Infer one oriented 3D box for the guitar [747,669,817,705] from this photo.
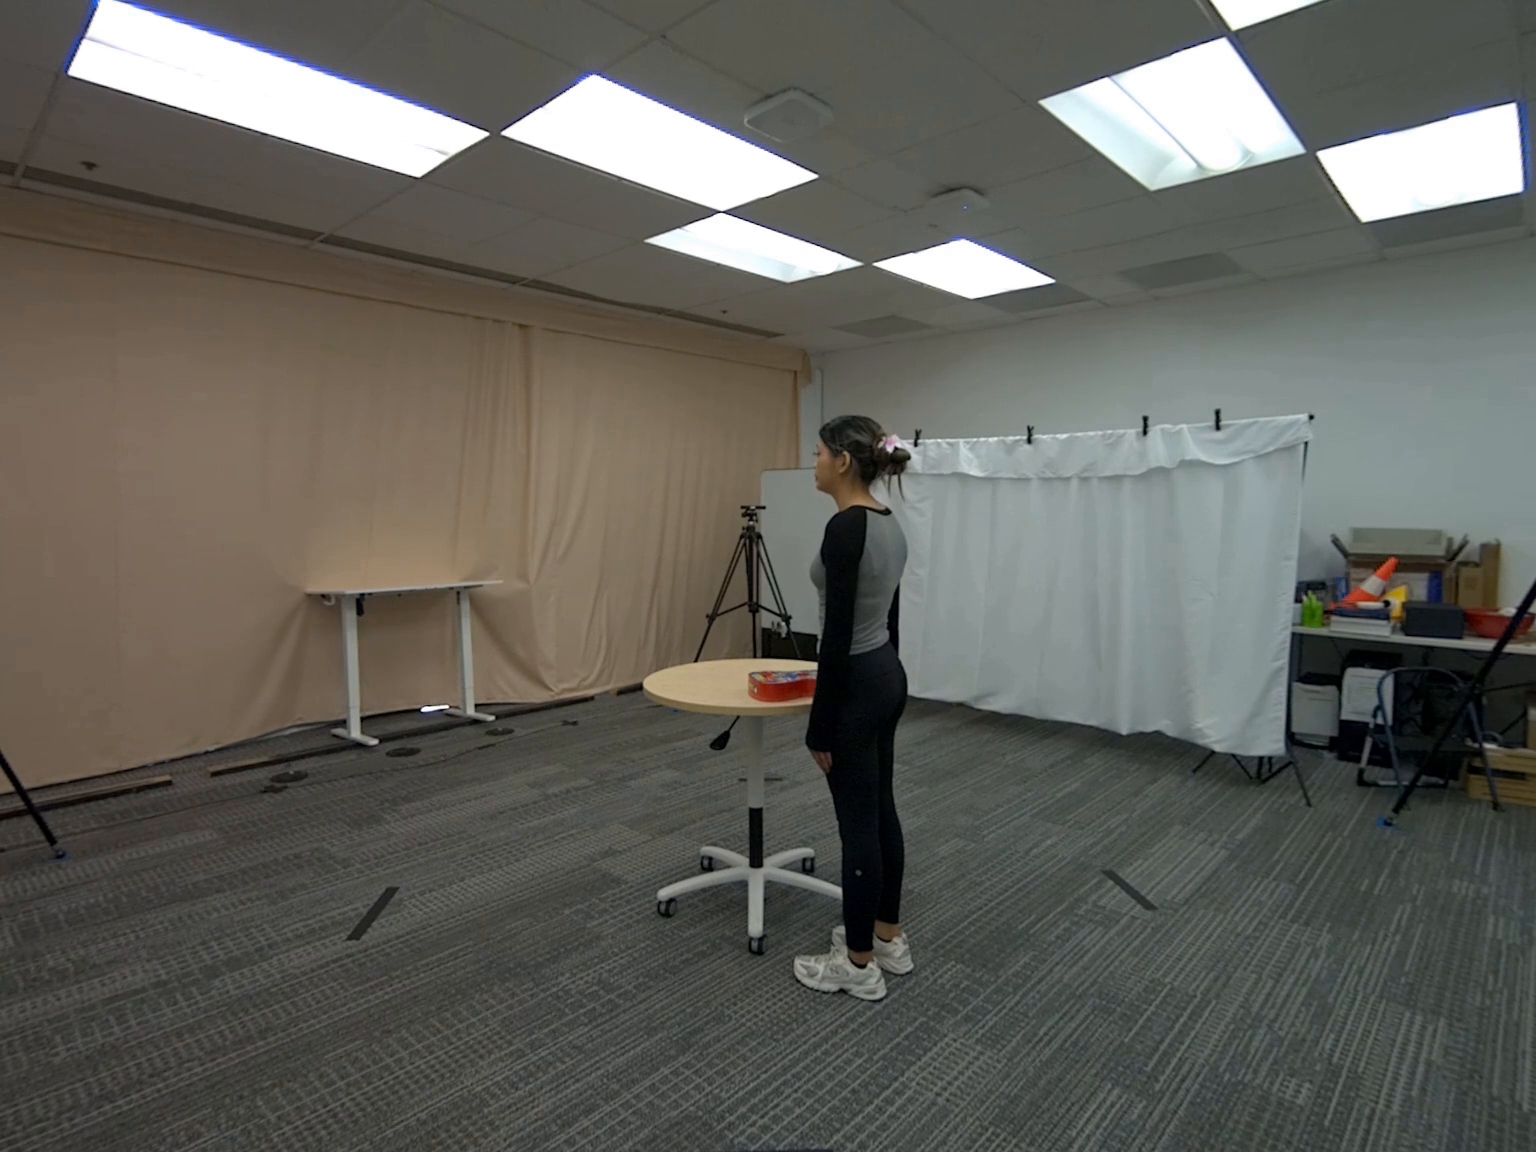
[{"bbox_3d":[0.193,0.341,2.679,0.495,0.070,0.195,-2,4,-6],"label":"guitar"}]
